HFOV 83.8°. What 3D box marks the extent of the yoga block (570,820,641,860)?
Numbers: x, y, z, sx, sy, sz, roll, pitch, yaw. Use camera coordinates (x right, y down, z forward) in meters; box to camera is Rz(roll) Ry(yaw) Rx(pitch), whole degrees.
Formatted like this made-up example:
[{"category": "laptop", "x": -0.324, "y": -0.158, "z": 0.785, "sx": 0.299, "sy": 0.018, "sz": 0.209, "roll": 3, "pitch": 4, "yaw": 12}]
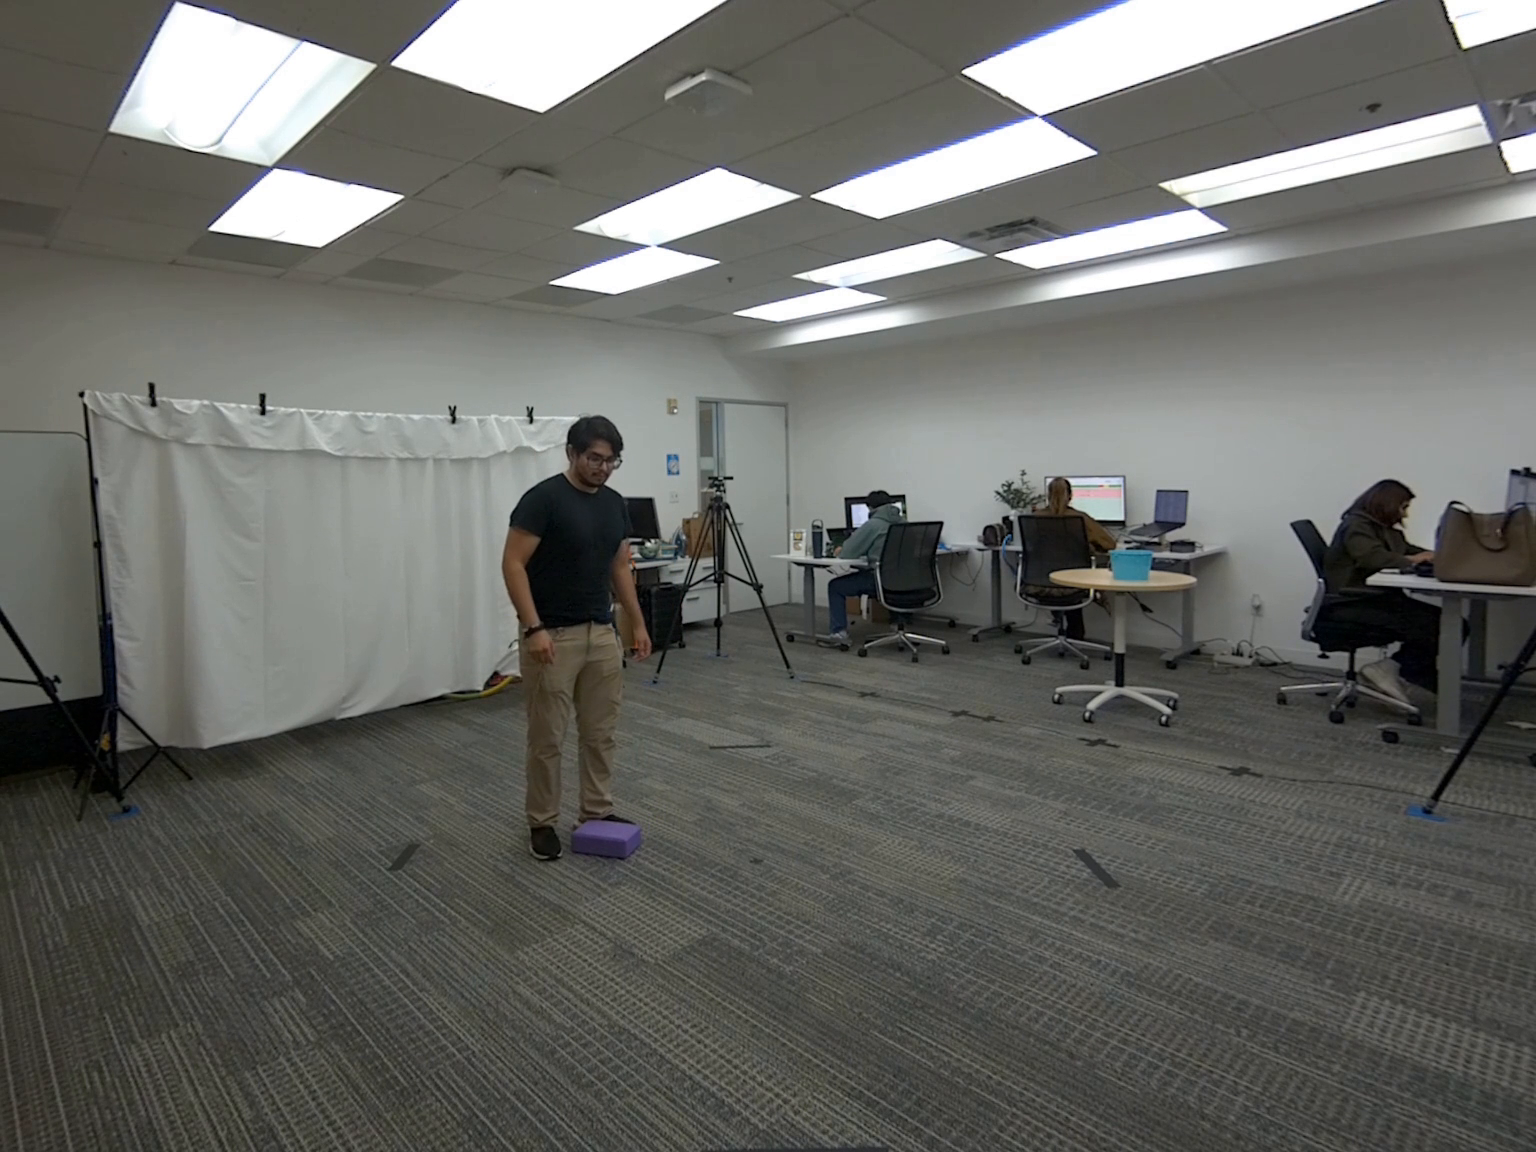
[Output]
[{"category": "yoga block", "x": -0.614, "y": 0.992, "z": 3.238, "sx": 0.233, "sy": 0.076, "sz": 0.147, "roll": 1, "pitch": 5, "yaw": 19}]
